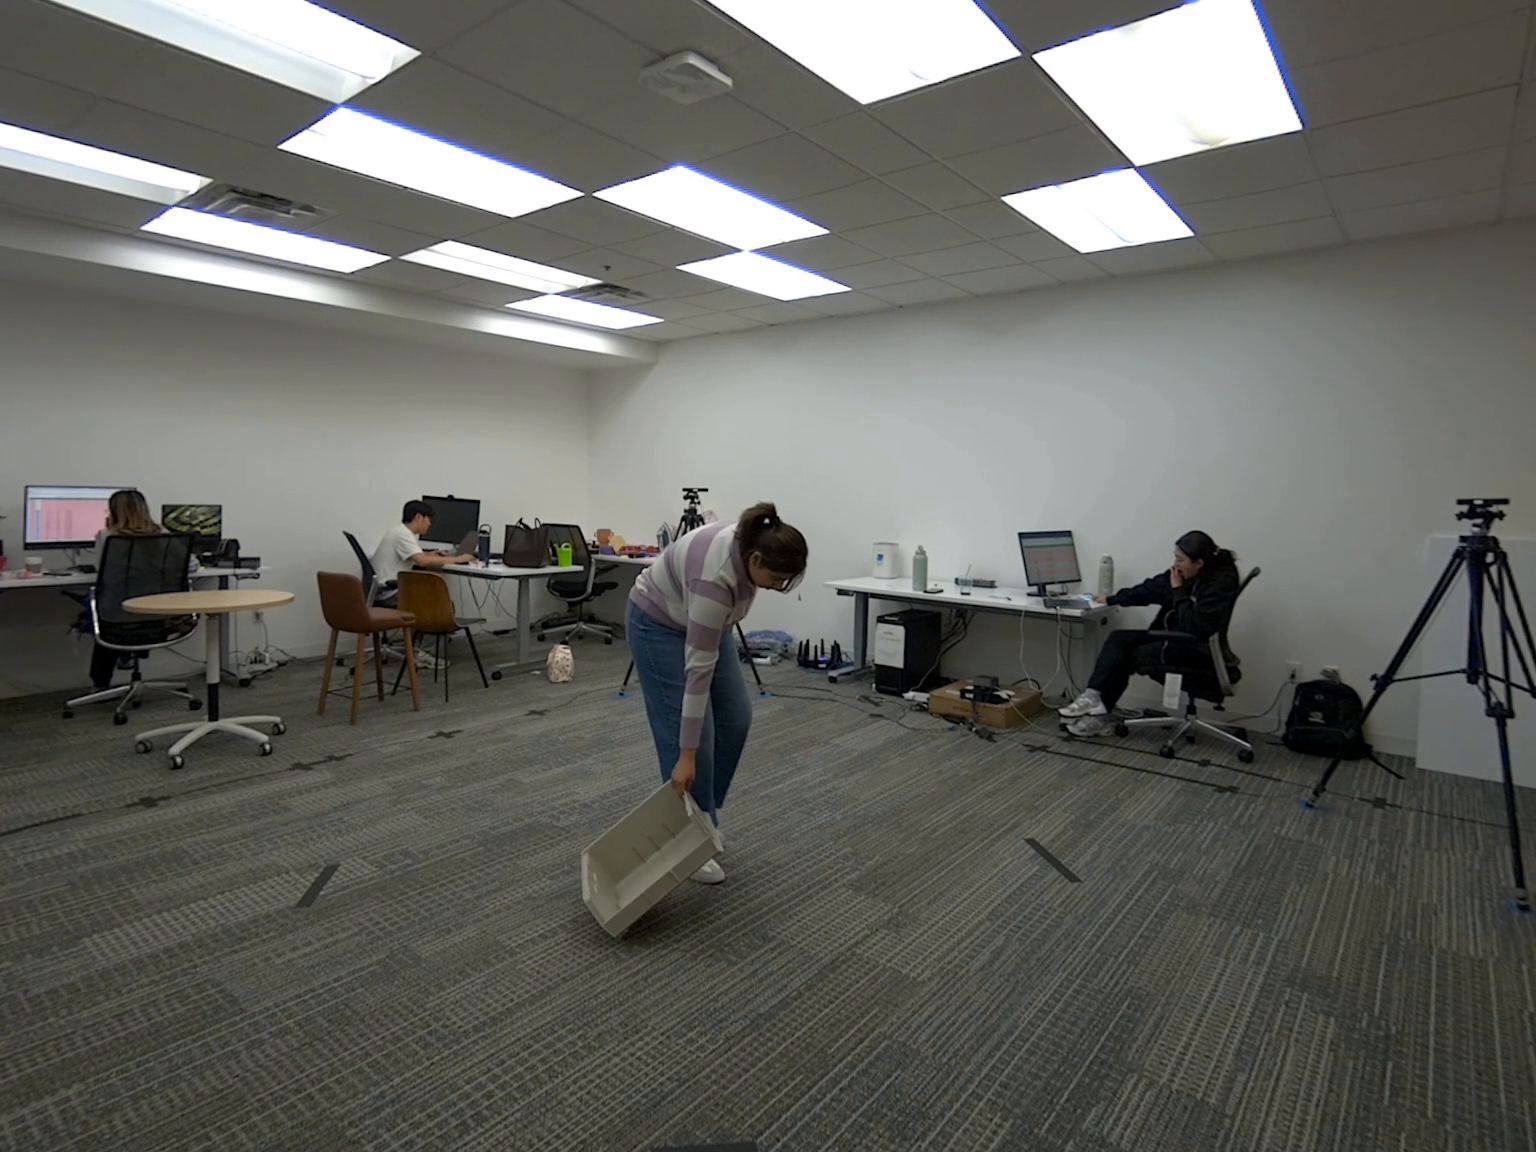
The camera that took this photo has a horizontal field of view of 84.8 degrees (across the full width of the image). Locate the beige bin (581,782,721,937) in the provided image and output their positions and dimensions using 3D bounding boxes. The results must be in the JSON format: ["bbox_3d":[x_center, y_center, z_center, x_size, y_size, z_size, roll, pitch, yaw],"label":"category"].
[{"bbox_3d":[-0.394,0.908,2.752,0.422,0.186,0.383,-39,11,-6],"label":"beige bin"}]
